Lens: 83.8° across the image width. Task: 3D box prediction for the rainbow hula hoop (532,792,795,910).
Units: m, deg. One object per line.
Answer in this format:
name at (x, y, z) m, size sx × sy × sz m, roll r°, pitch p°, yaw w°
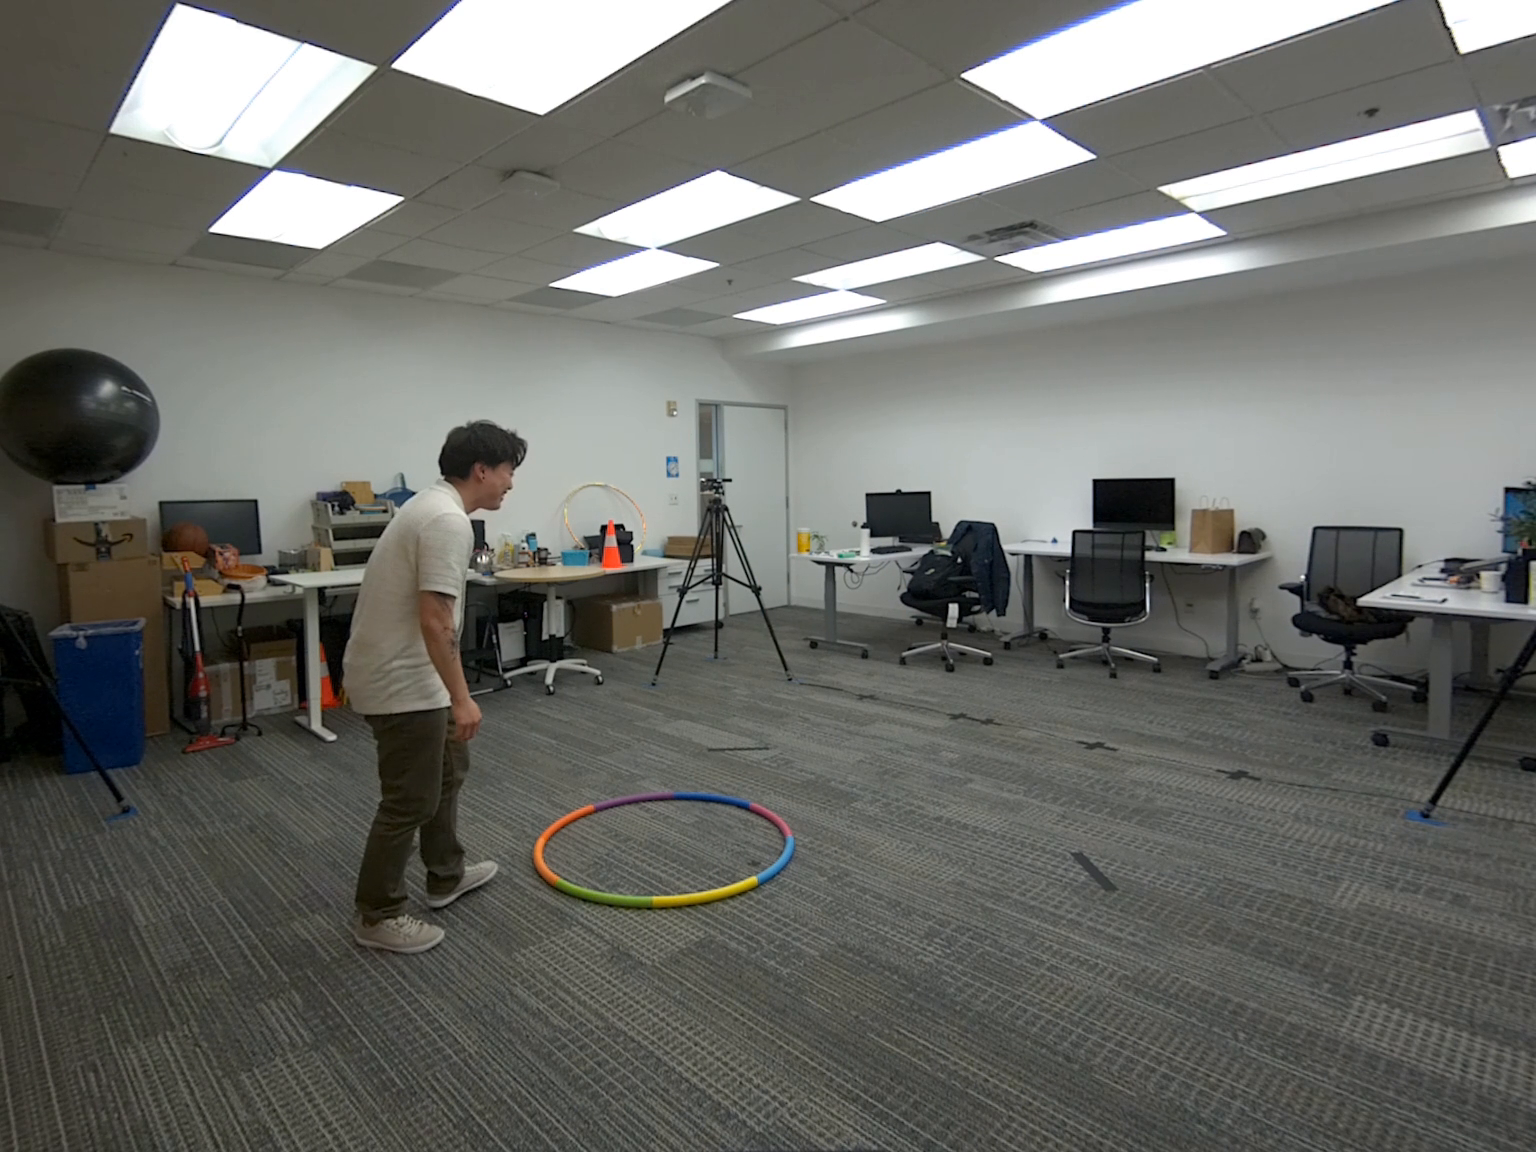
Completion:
rainbow hula hoop at (-0.387, 1.003, 3.270) m, size 0.978 × 0.035 × 0.984 m, roll -1°, pitch 6°, yaw -2°
